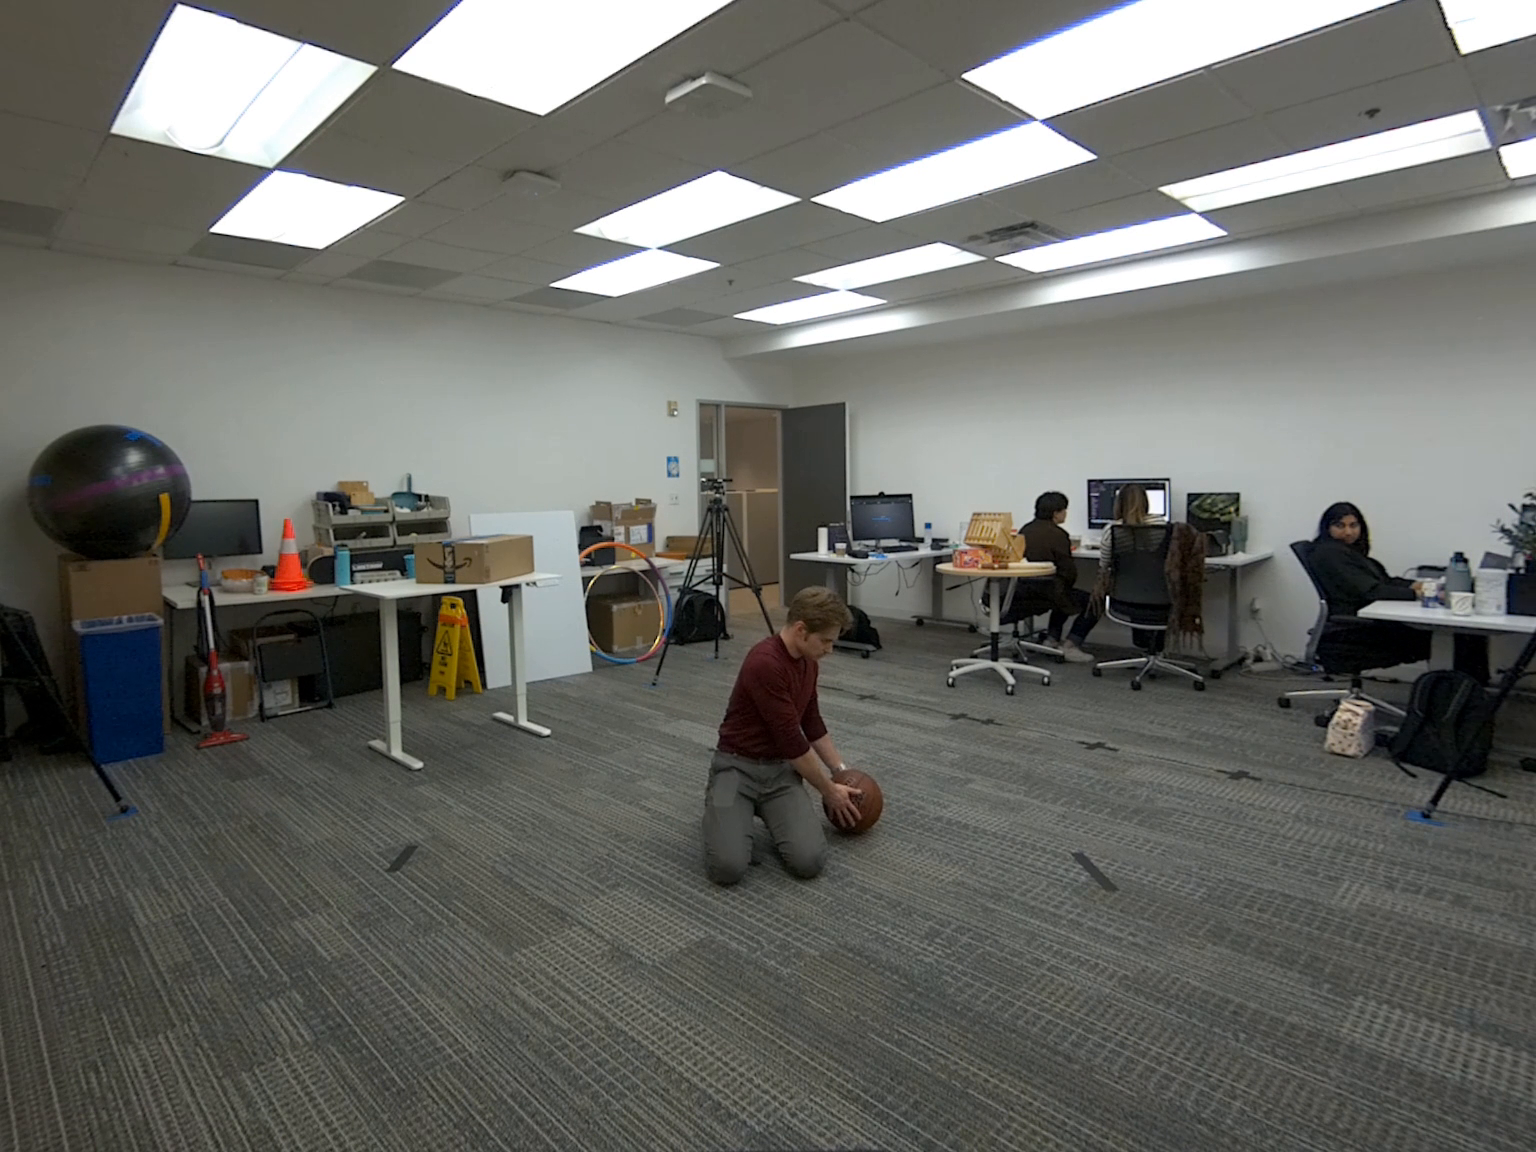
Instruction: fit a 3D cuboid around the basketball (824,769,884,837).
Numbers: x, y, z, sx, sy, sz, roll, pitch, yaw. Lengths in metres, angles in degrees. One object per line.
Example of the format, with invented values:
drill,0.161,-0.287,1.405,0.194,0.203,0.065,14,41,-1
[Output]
basketball,0.338,0.883,3.371,0.236,0.235,0.237,-1,5,-2
